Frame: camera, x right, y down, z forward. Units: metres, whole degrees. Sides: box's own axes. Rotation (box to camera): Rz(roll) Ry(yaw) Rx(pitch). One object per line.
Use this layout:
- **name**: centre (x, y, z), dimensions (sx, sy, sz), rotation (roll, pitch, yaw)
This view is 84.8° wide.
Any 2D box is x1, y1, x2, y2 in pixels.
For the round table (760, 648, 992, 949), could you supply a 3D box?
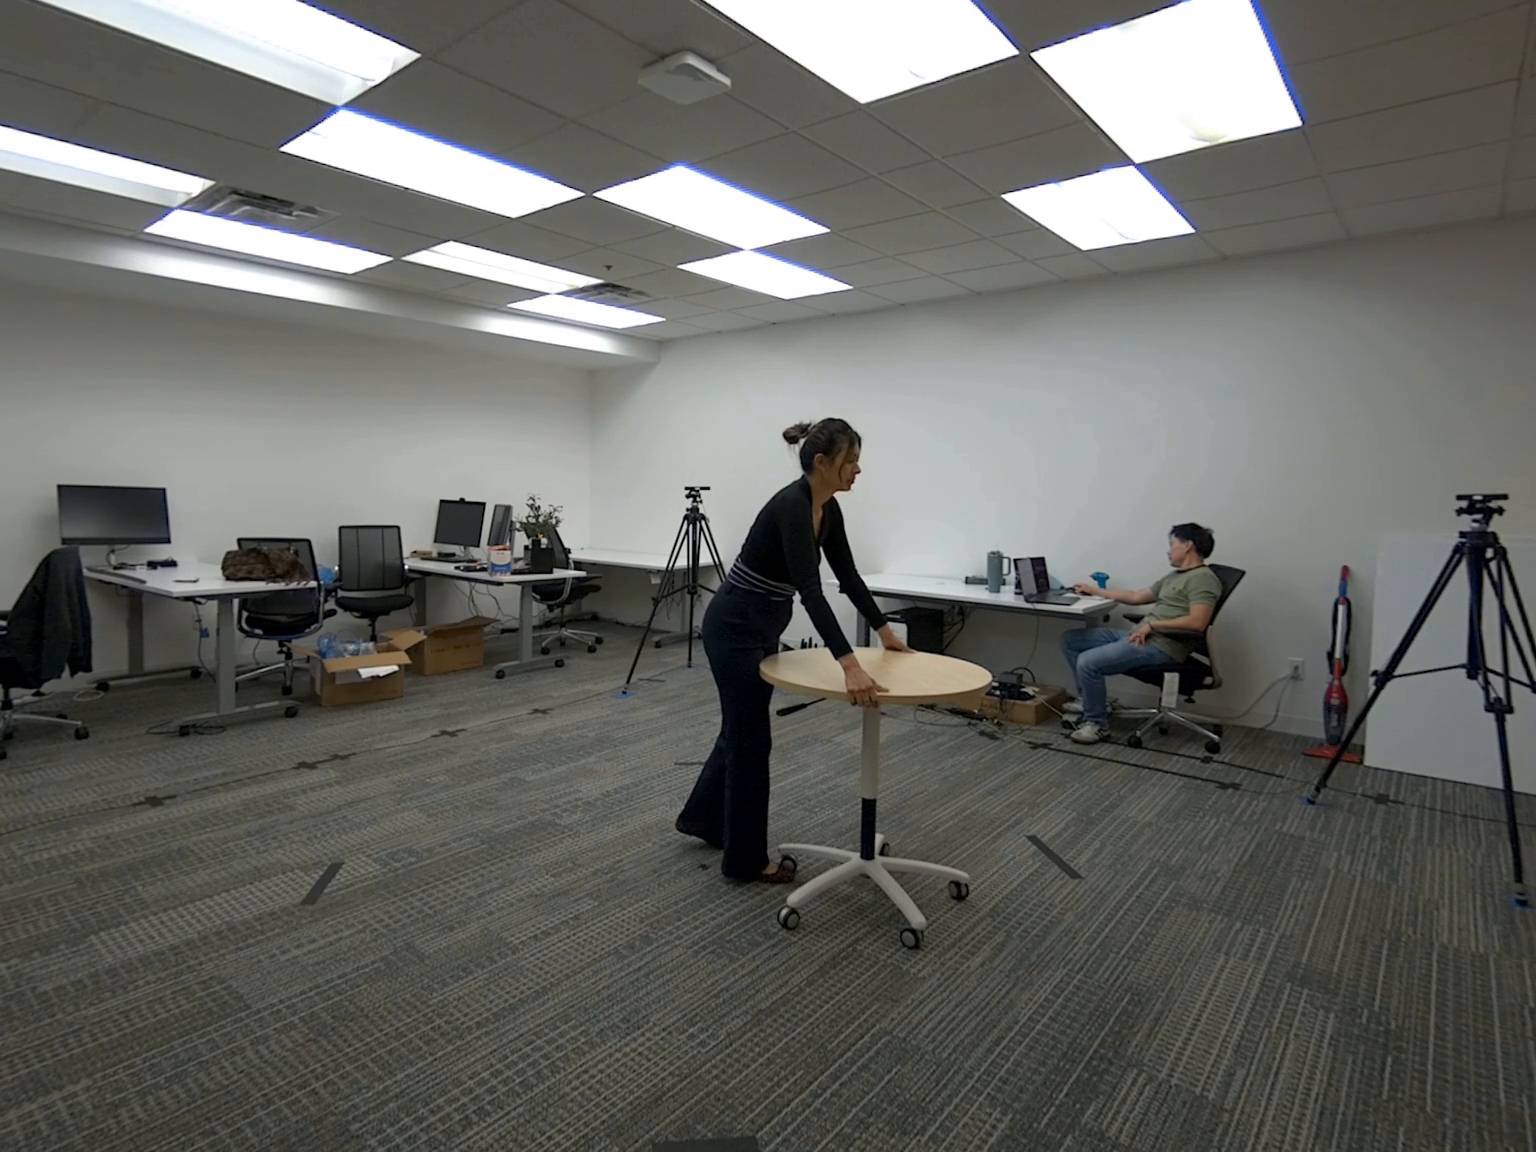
- **round table**: centre (0.340, 0.707, 2.885), dimensions (0.763, 0.791, 0.768), rotation (1, 4, -2)
